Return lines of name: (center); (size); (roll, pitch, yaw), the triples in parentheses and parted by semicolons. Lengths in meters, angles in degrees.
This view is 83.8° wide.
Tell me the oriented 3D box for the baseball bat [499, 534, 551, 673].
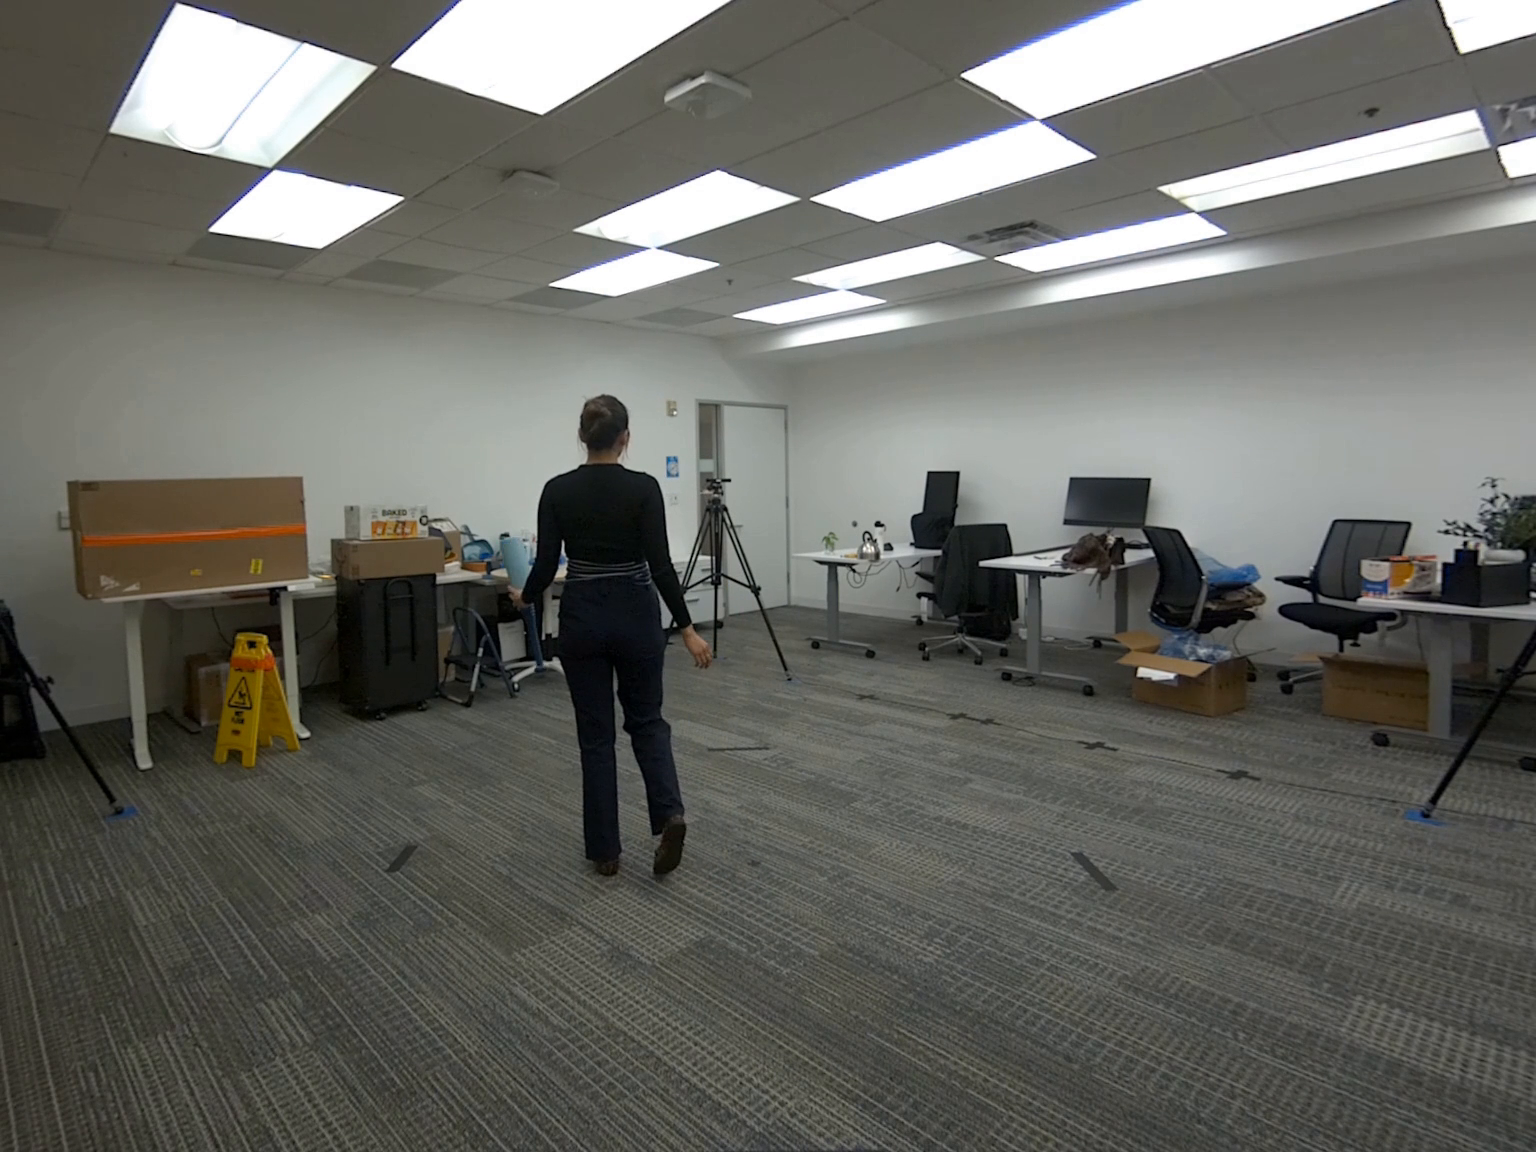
baseball bat: (-0.942, 0.099, 3.346); (0.089, 0.546, 0.089); (-16, -4, -2)
